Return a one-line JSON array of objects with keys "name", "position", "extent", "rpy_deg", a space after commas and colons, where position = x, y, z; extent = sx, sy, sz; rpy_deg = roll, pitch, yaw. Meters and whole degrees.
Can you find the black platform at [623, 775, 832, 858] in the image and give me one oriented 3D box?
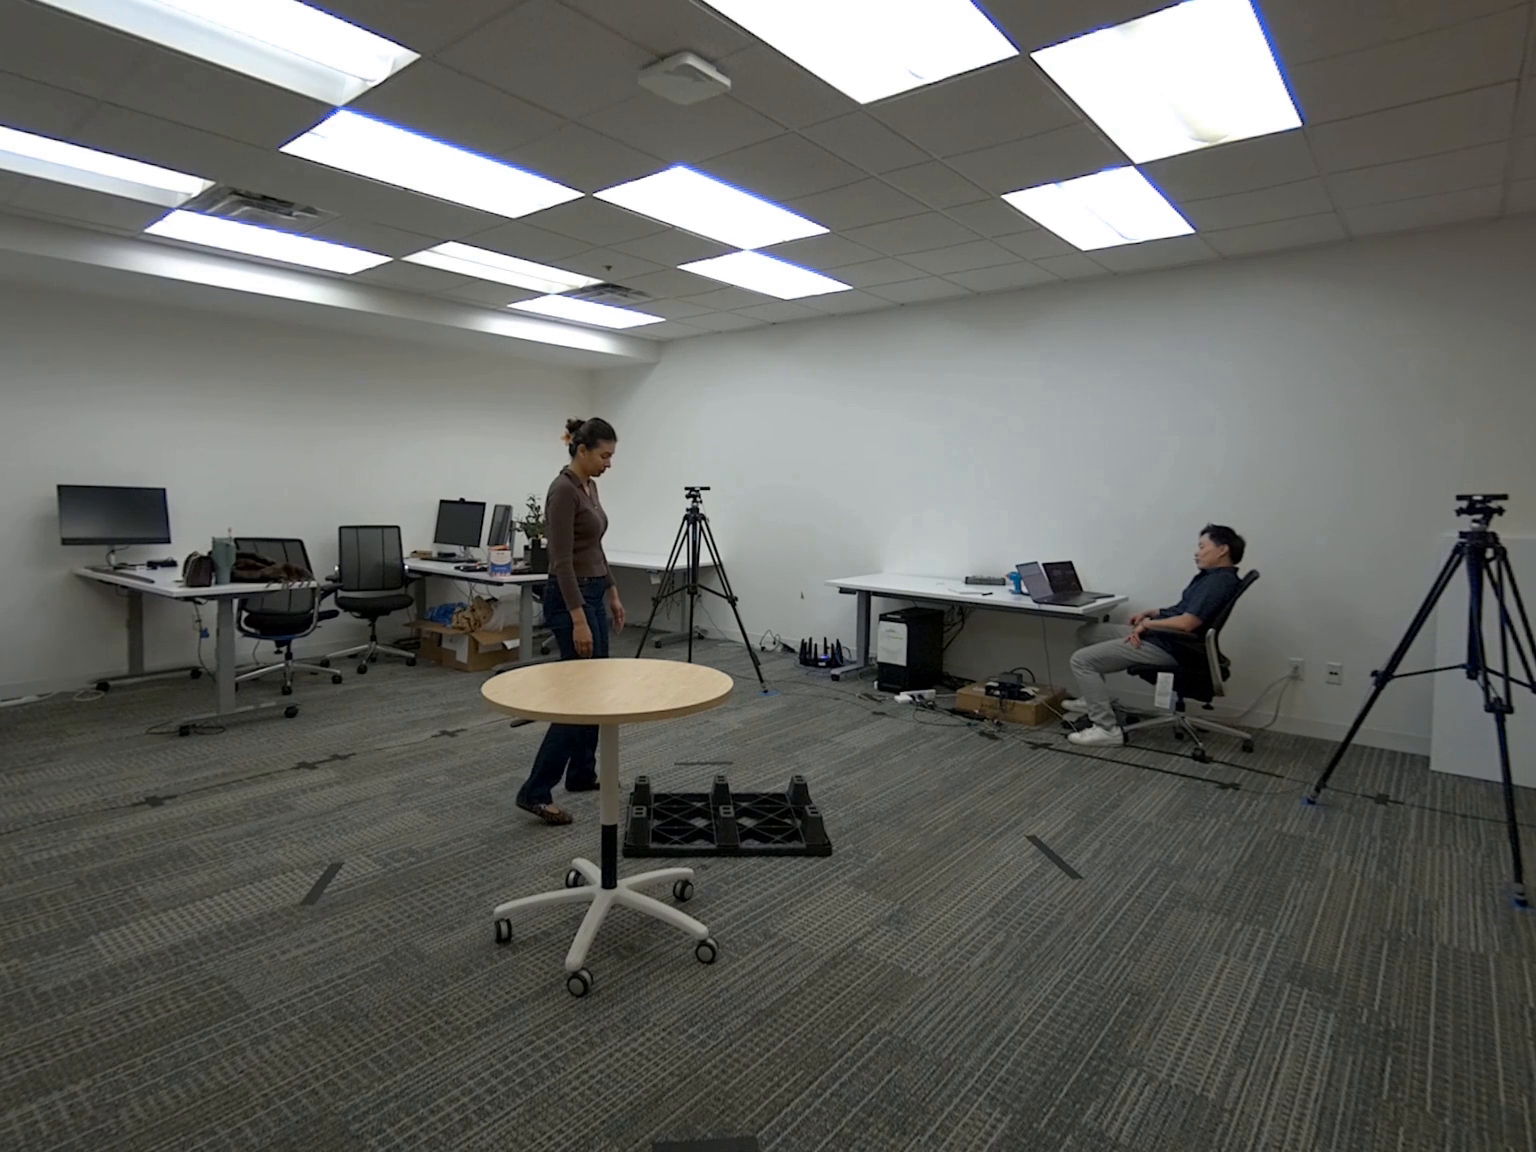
[{"name": "black platform", "position": [-0.187, 0.960, 3.500], "extent": [0.802, 0.143, 0.611], "rpy_deg": [0, 6, -5]}]
